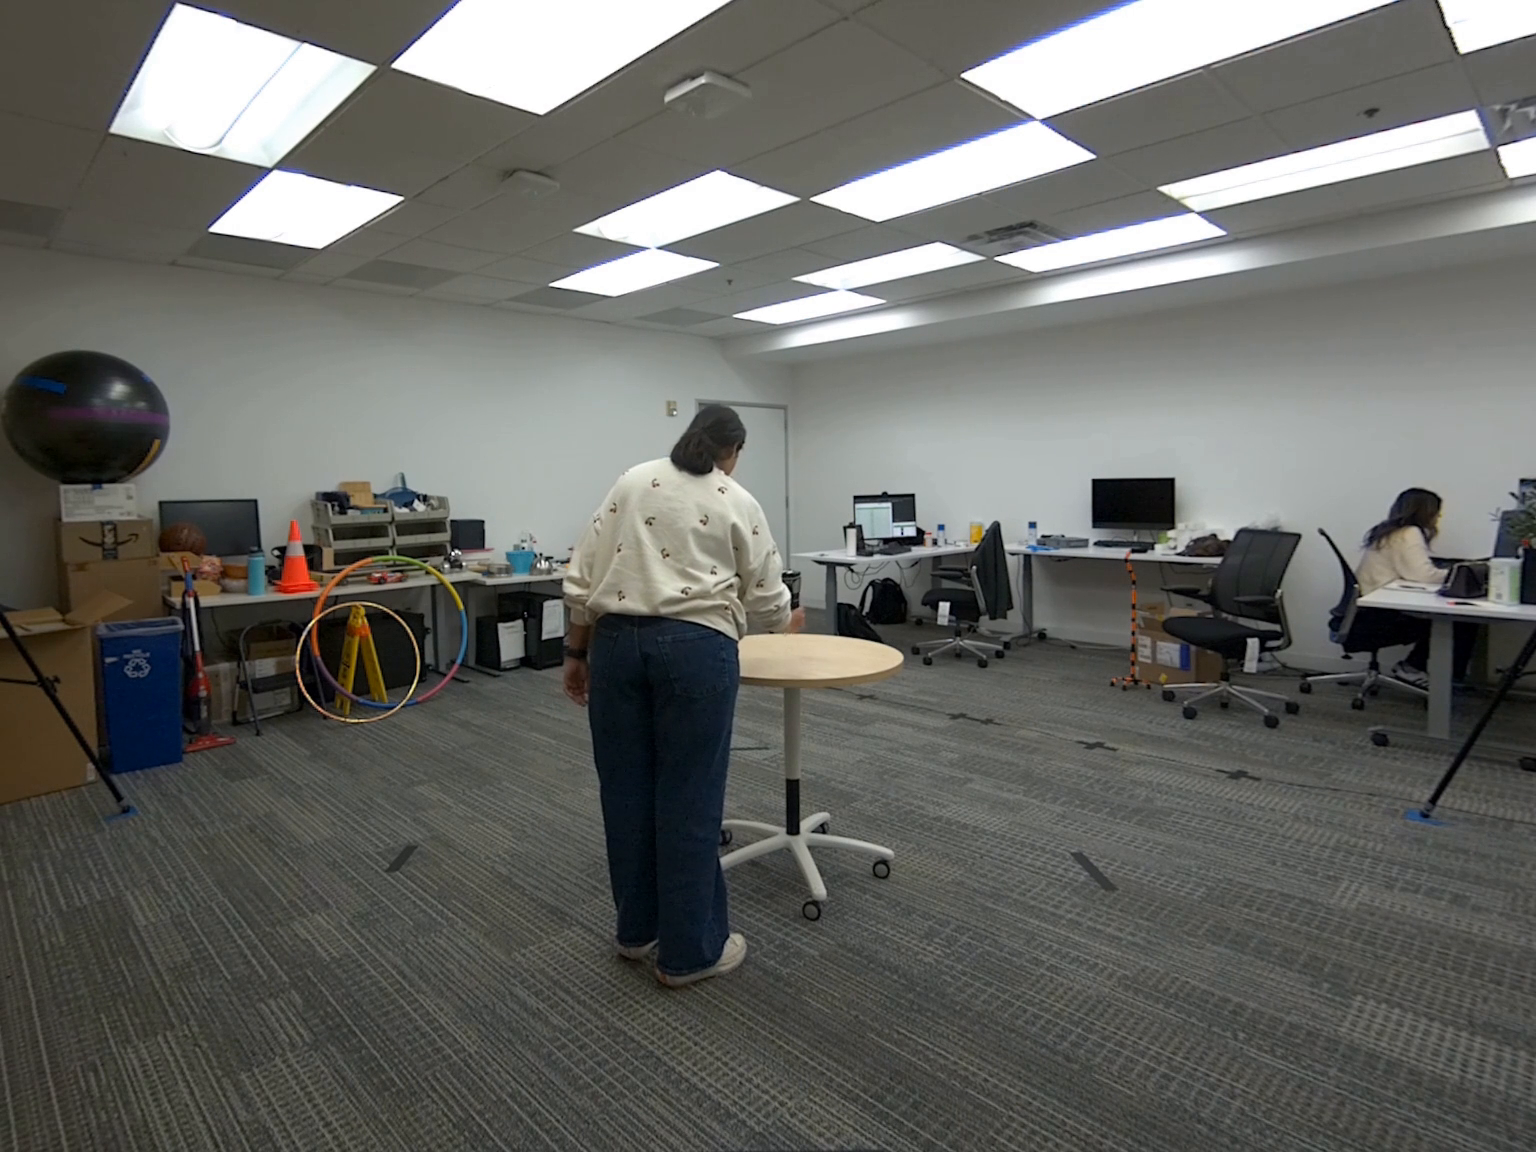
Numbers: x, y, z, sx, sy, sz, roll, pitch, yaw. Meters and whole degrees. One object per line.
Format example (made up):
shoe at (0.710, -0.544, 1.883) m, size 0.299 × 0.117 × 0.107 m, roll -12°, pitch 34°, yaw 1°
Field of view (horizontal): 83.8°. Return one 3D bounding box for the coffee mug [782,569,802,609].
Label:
coffee mug at (0.093, 0.081, 2.868) m, size 0.120 × 0.200 × 0.090 m, roll -11°, pitch 15°, yaw -27°
